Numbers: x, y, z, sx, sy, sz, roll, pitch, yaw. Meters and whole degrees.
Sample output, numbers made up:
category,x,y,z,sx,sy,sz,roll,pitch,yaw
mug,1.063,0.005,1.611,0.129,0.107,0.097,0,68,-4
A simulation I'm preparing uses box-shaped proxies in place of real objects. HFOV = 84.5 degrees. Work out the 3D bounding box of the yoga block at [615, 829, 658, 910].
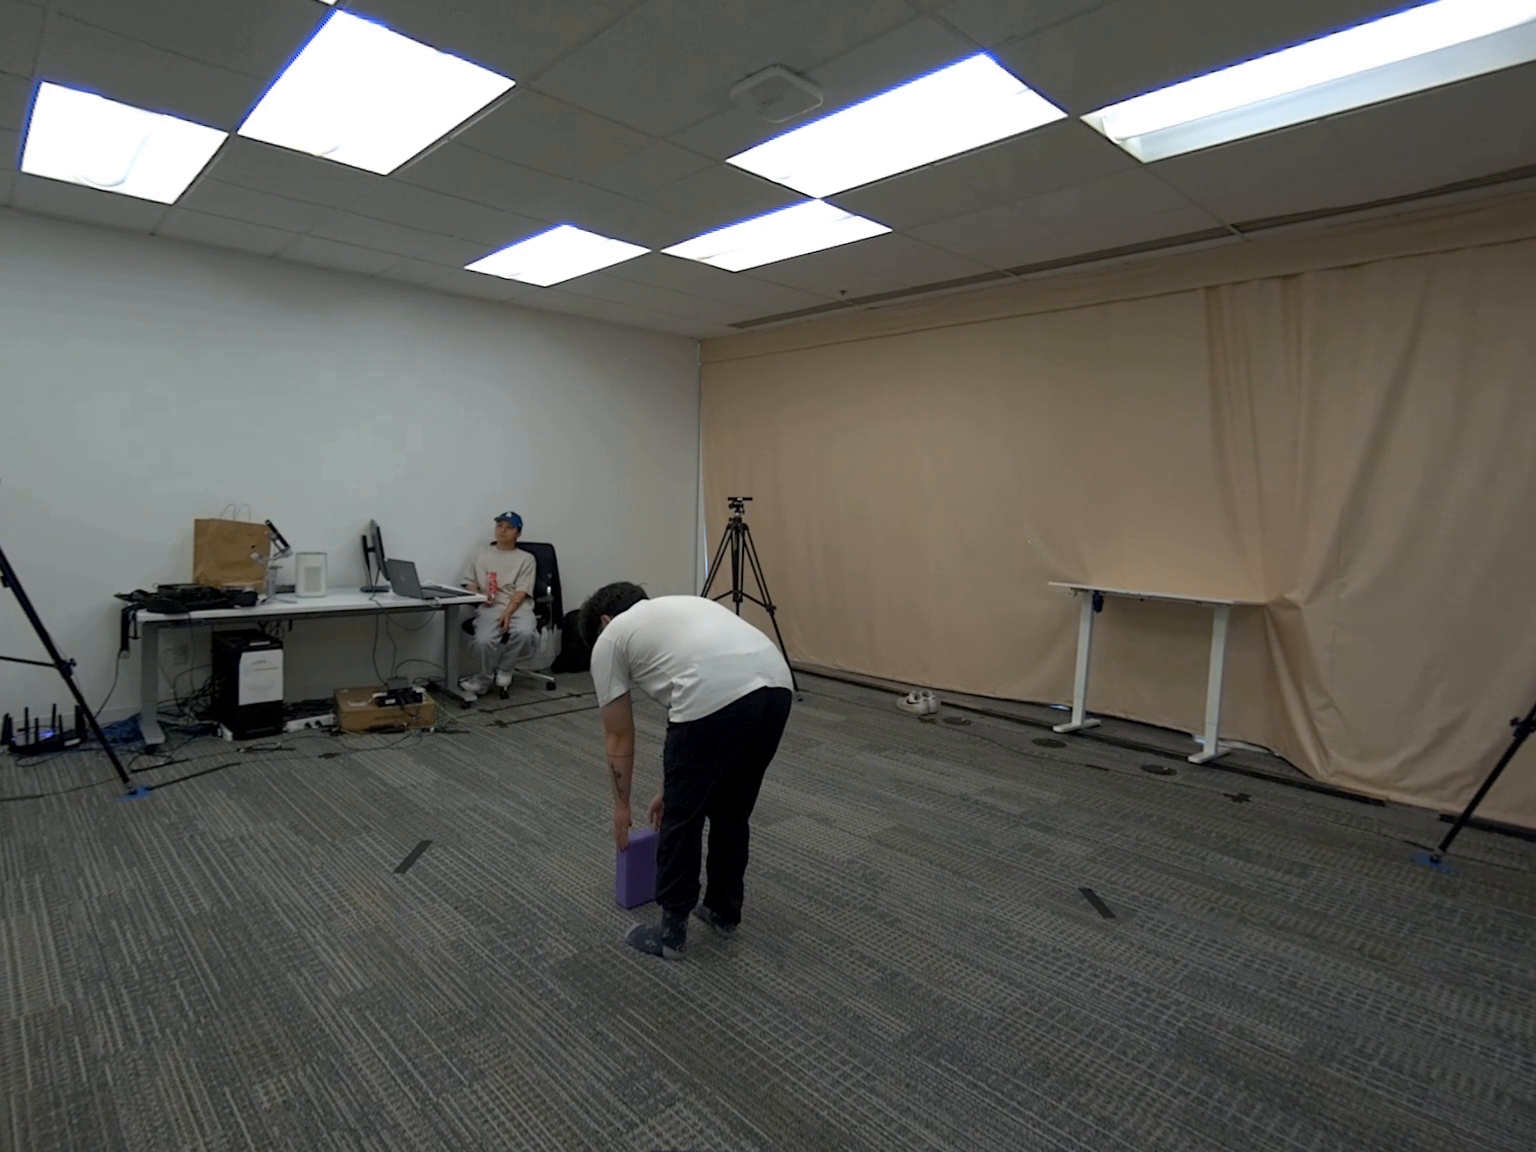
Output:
category,x,y,z,sx,sy,sz,roll,pitch,yaw
yoga block,-0.452,1.010,2.890,0.146,0.228,0.078,-4,8,-43
